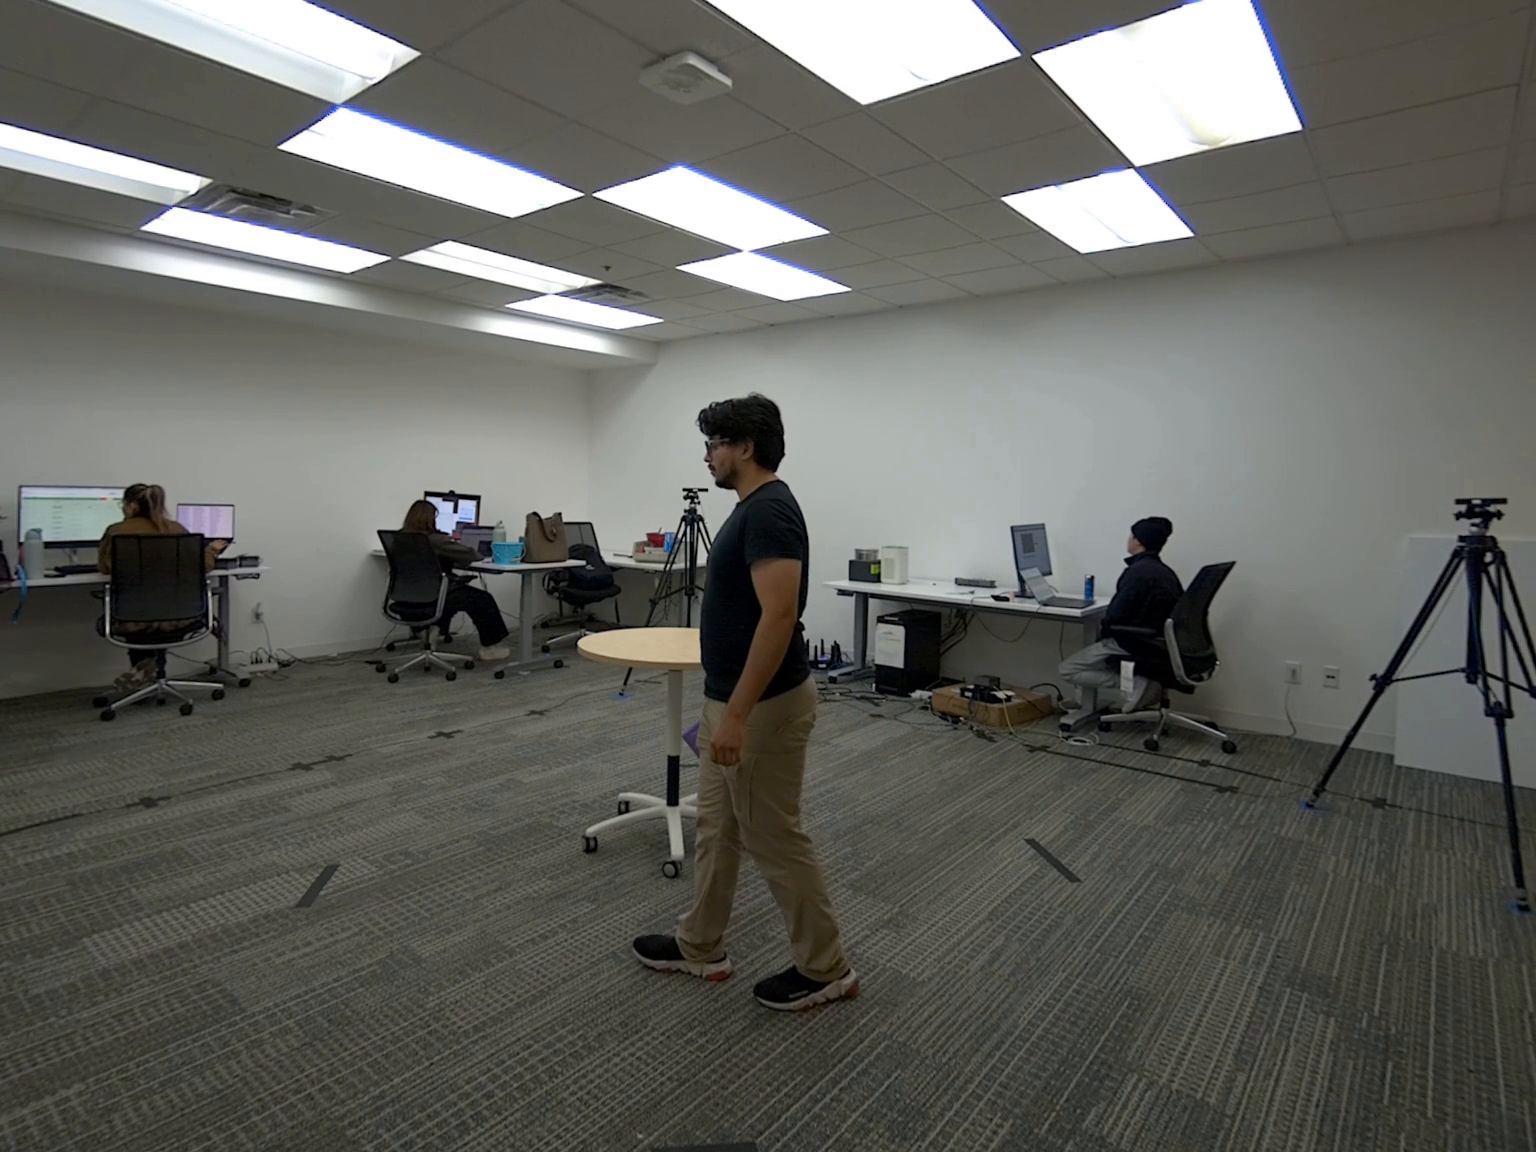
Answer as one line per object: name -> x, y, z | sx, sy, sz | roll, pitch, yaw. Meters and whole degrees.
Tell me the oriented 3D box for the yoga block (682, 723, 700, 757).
yoga block -> -0.132, 0.468, 2.610 | 0.229, 0.151, 0.075 | -38, -12, -11
